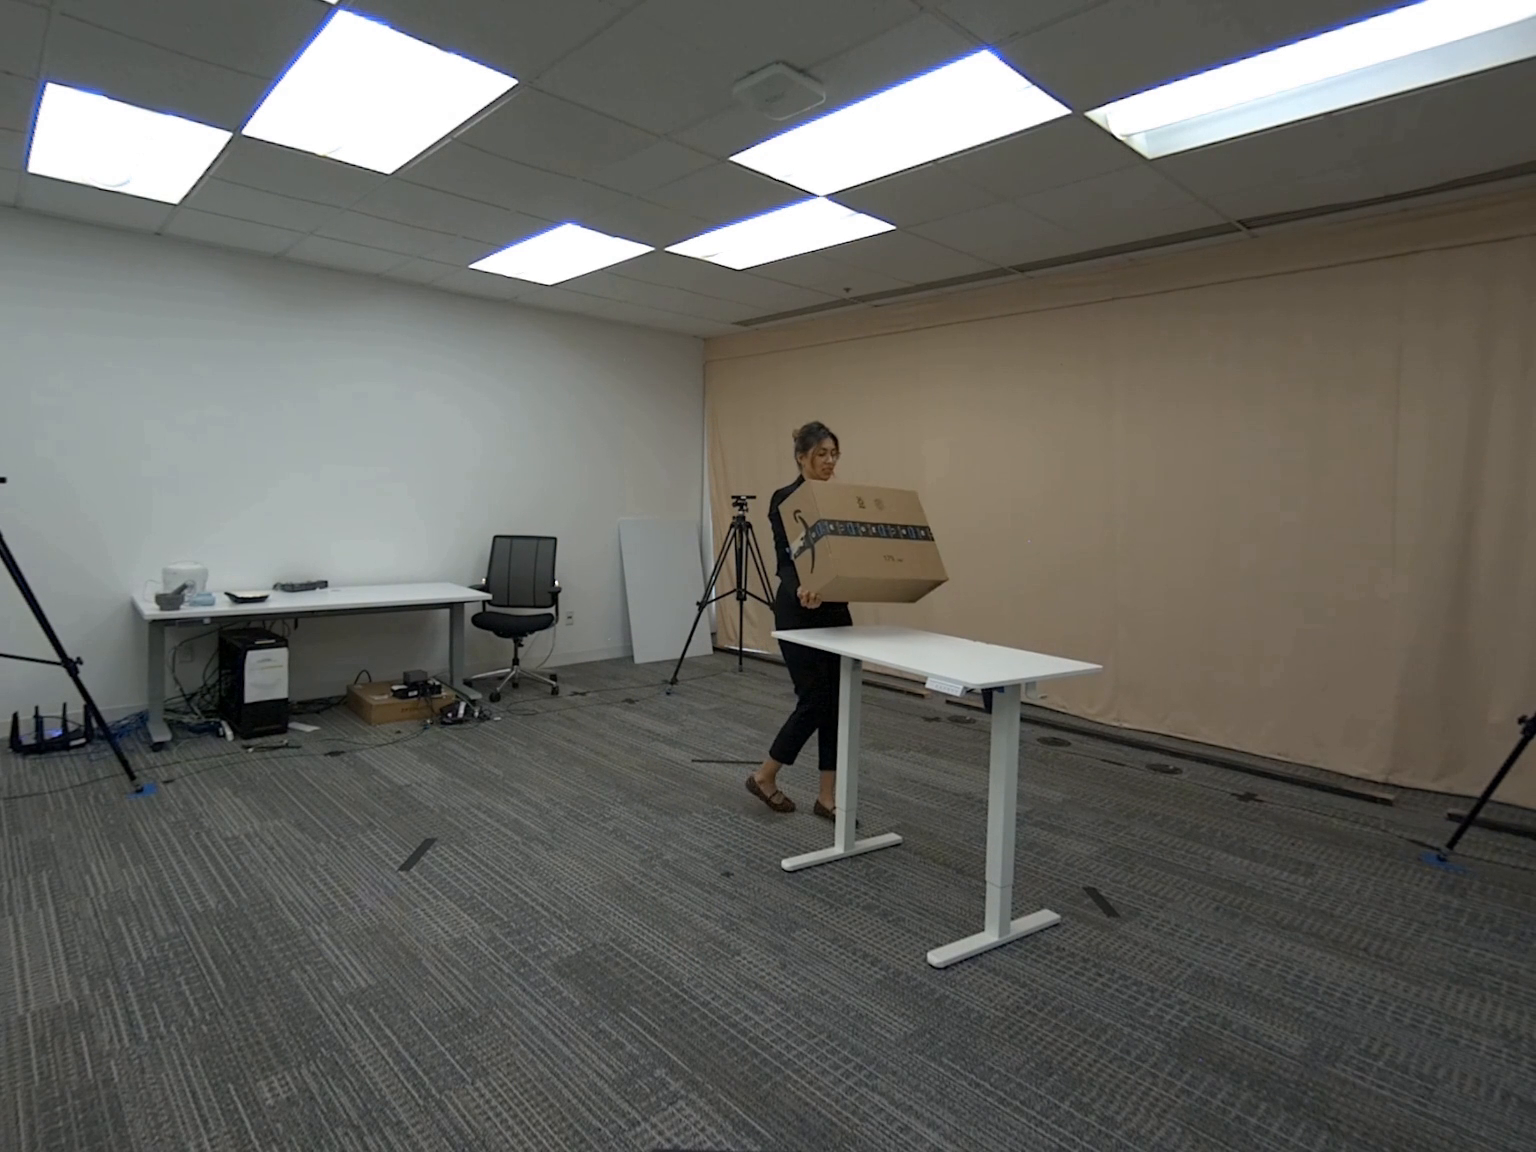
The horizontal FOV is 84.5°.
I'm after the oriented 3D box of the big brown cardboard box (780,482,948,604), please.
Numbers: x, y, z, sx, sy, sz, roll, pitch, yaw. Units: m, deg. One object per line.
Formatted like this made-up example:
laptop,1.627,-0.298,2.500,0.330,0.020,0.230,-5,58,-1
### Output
big brown cardboard box,0.374,-0.128,3.334,0.576,0.426,0.234,3,-28,-33
